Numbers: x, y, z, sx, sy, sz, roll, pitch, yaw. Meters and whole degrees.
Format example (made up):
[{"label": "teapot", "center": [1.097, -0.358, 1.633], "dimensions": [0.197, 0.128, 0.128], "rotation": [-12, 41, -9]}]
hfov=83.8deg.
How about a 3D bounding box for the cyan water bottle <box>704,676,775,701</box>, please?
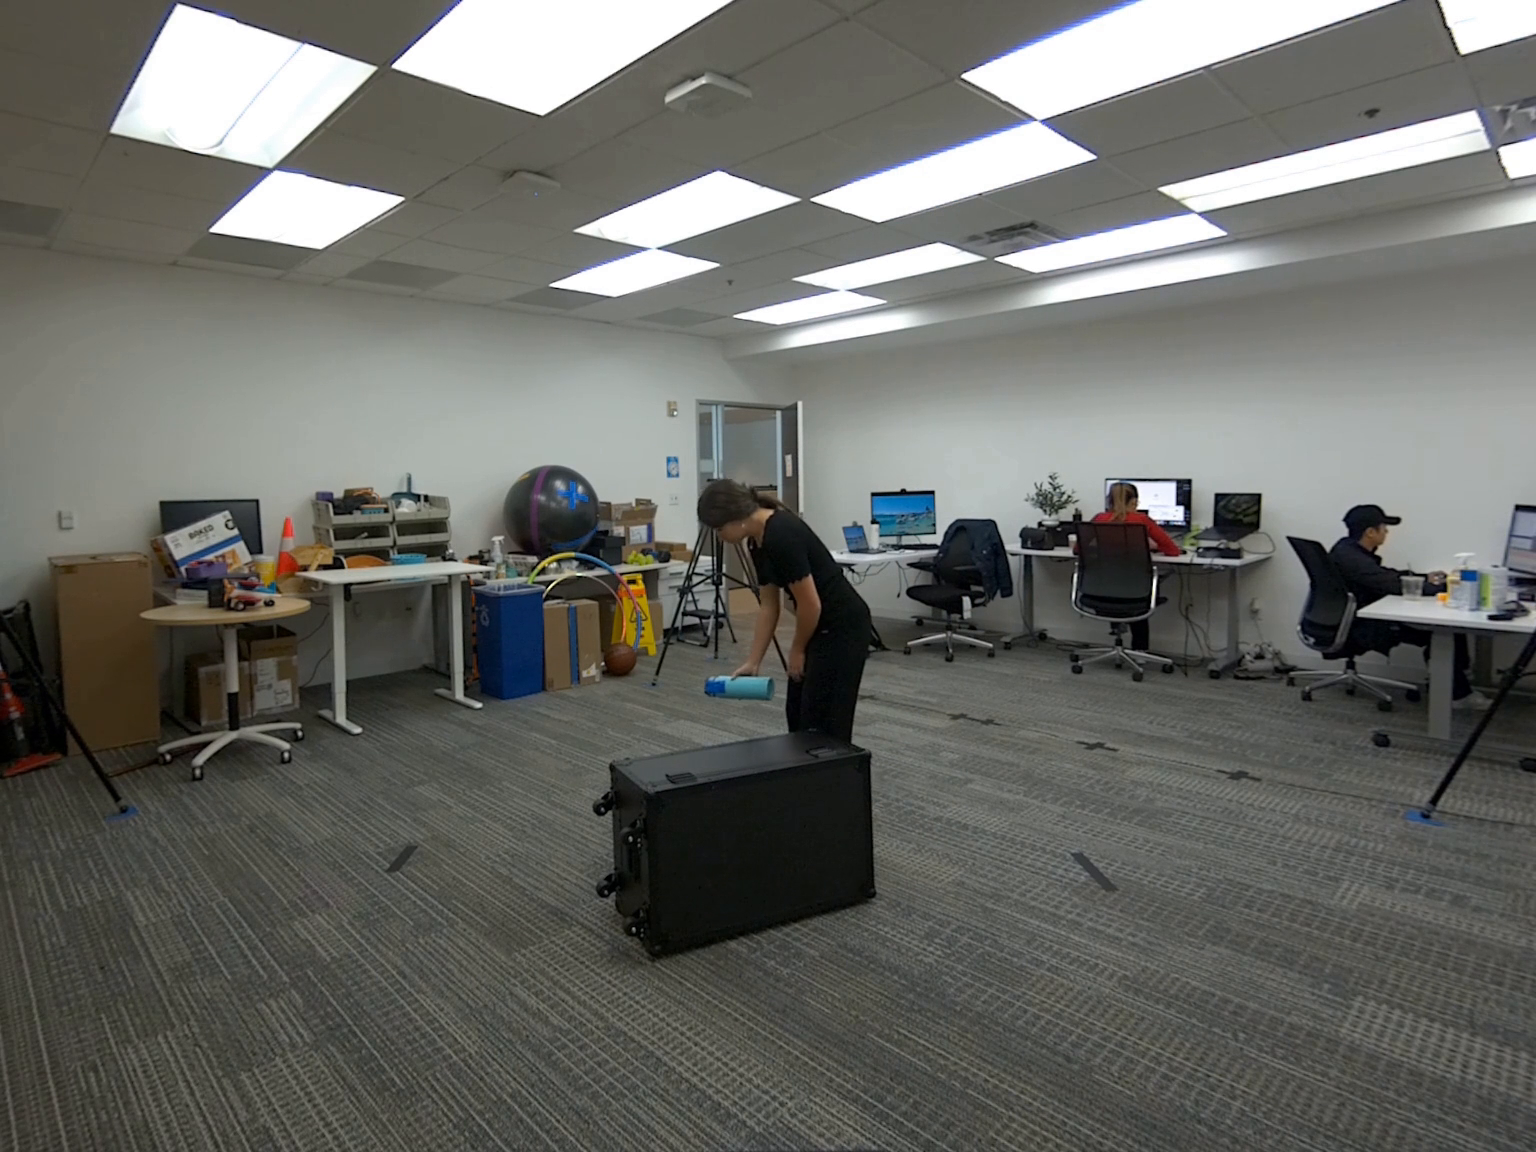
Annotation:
[{"label": "cyan water bottle", "center": [-0.115, 0.440, 3.364], "dimensions": [0.289, 0.092, 0.091], "rotation": [-1, 4, 22]}]
